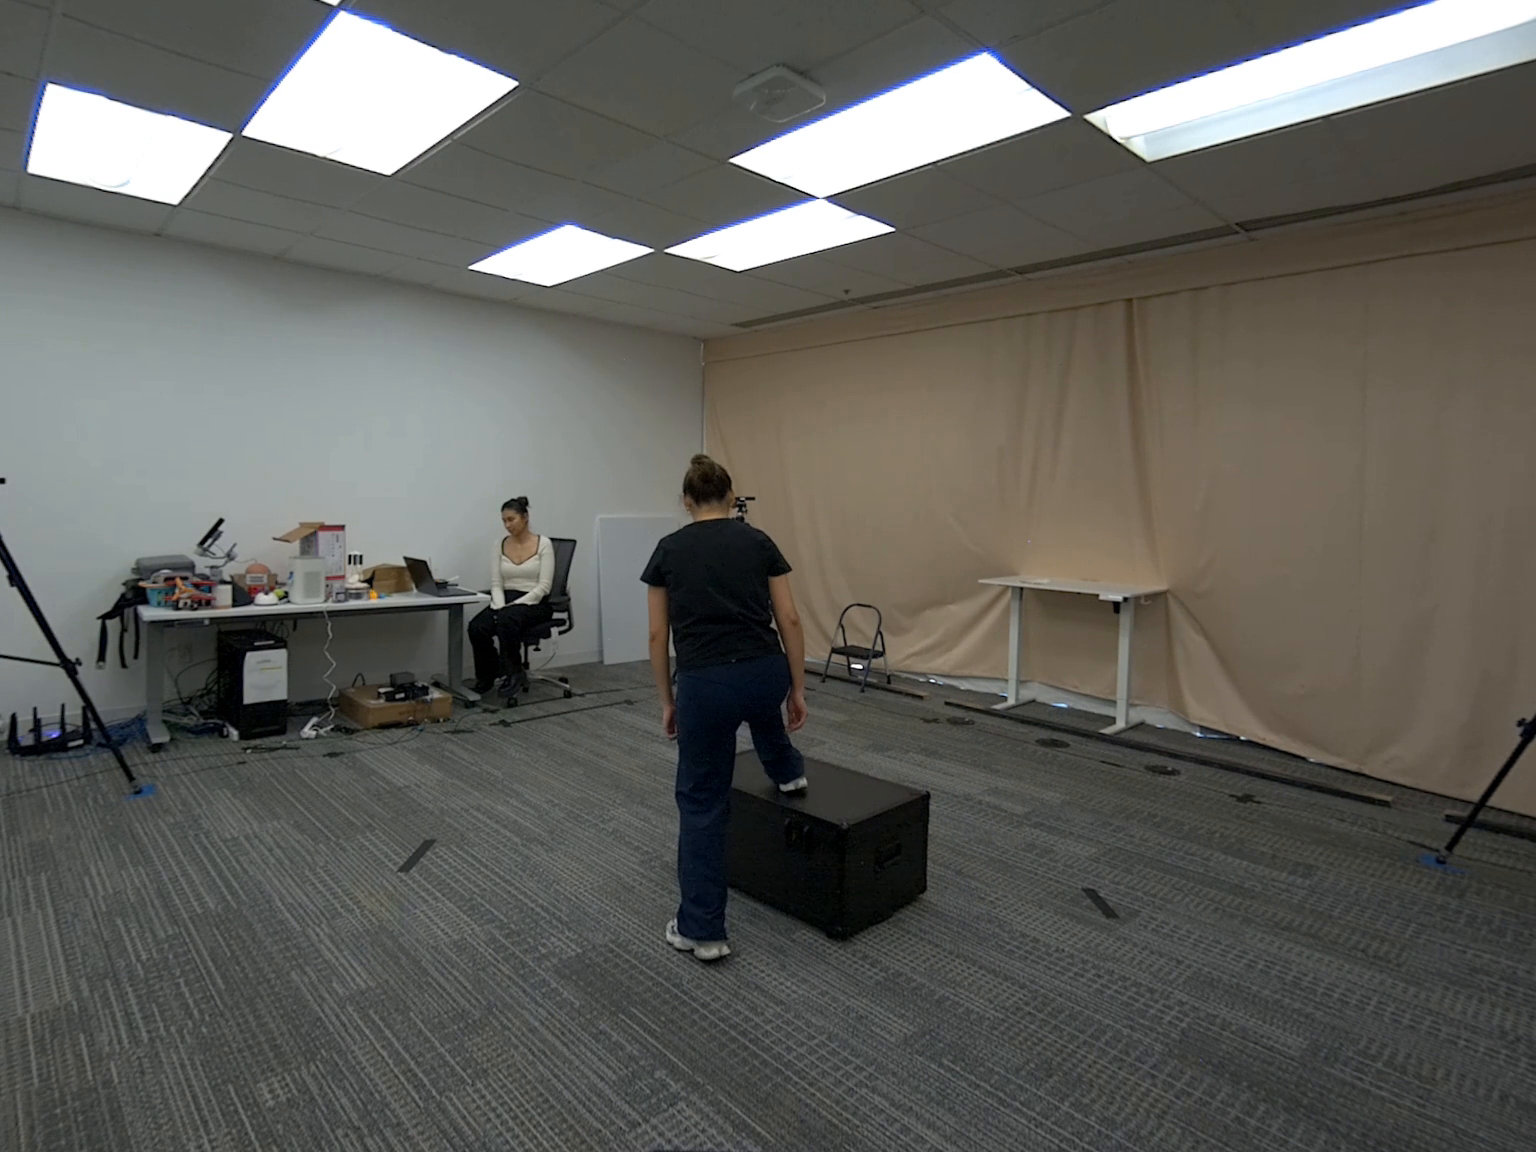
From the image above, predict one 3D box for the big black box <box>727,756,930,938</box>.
[{"bbox_3d":[0.089,0.923,3.073,0.884,0.395,0.509,6,7,43],"label":"big black box"}]
